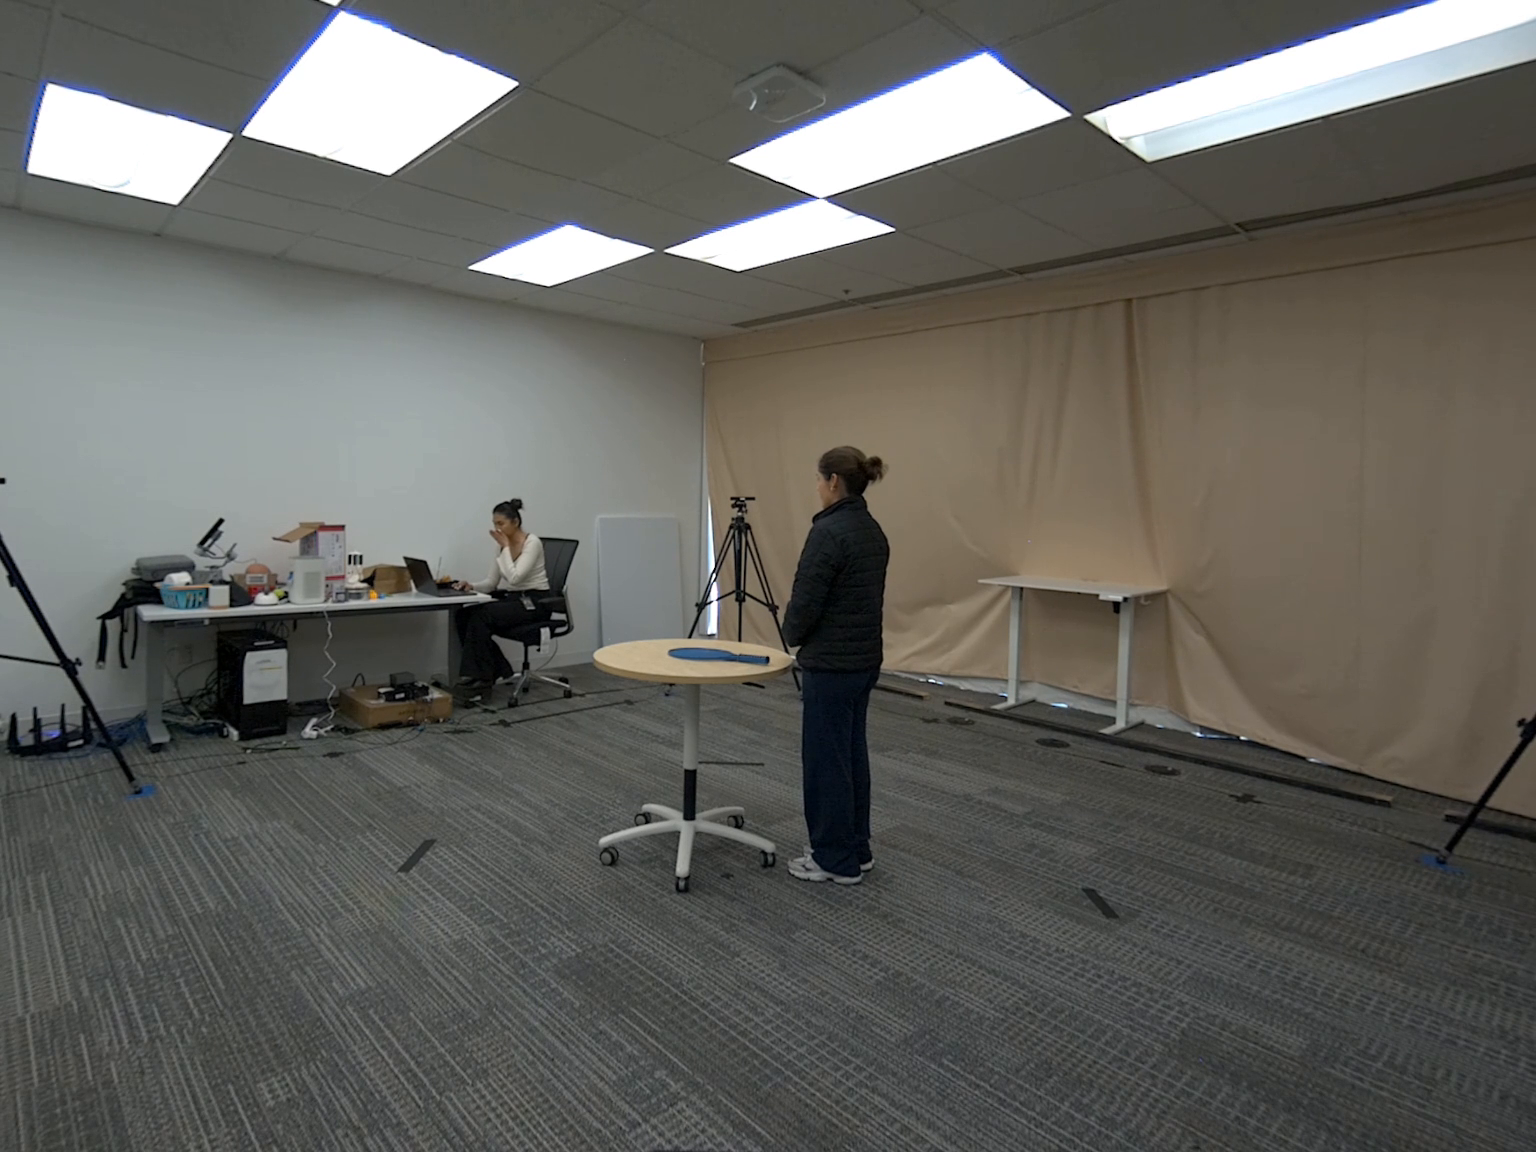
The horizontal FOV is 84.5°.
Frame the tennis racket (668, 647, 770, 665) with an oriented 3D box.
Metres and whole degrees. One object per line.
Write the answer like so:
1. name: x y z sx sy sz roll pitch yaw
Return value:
1. tennis racket: -0.192 0.306 3.204 0.443 0.031 0.209 3 6 33
